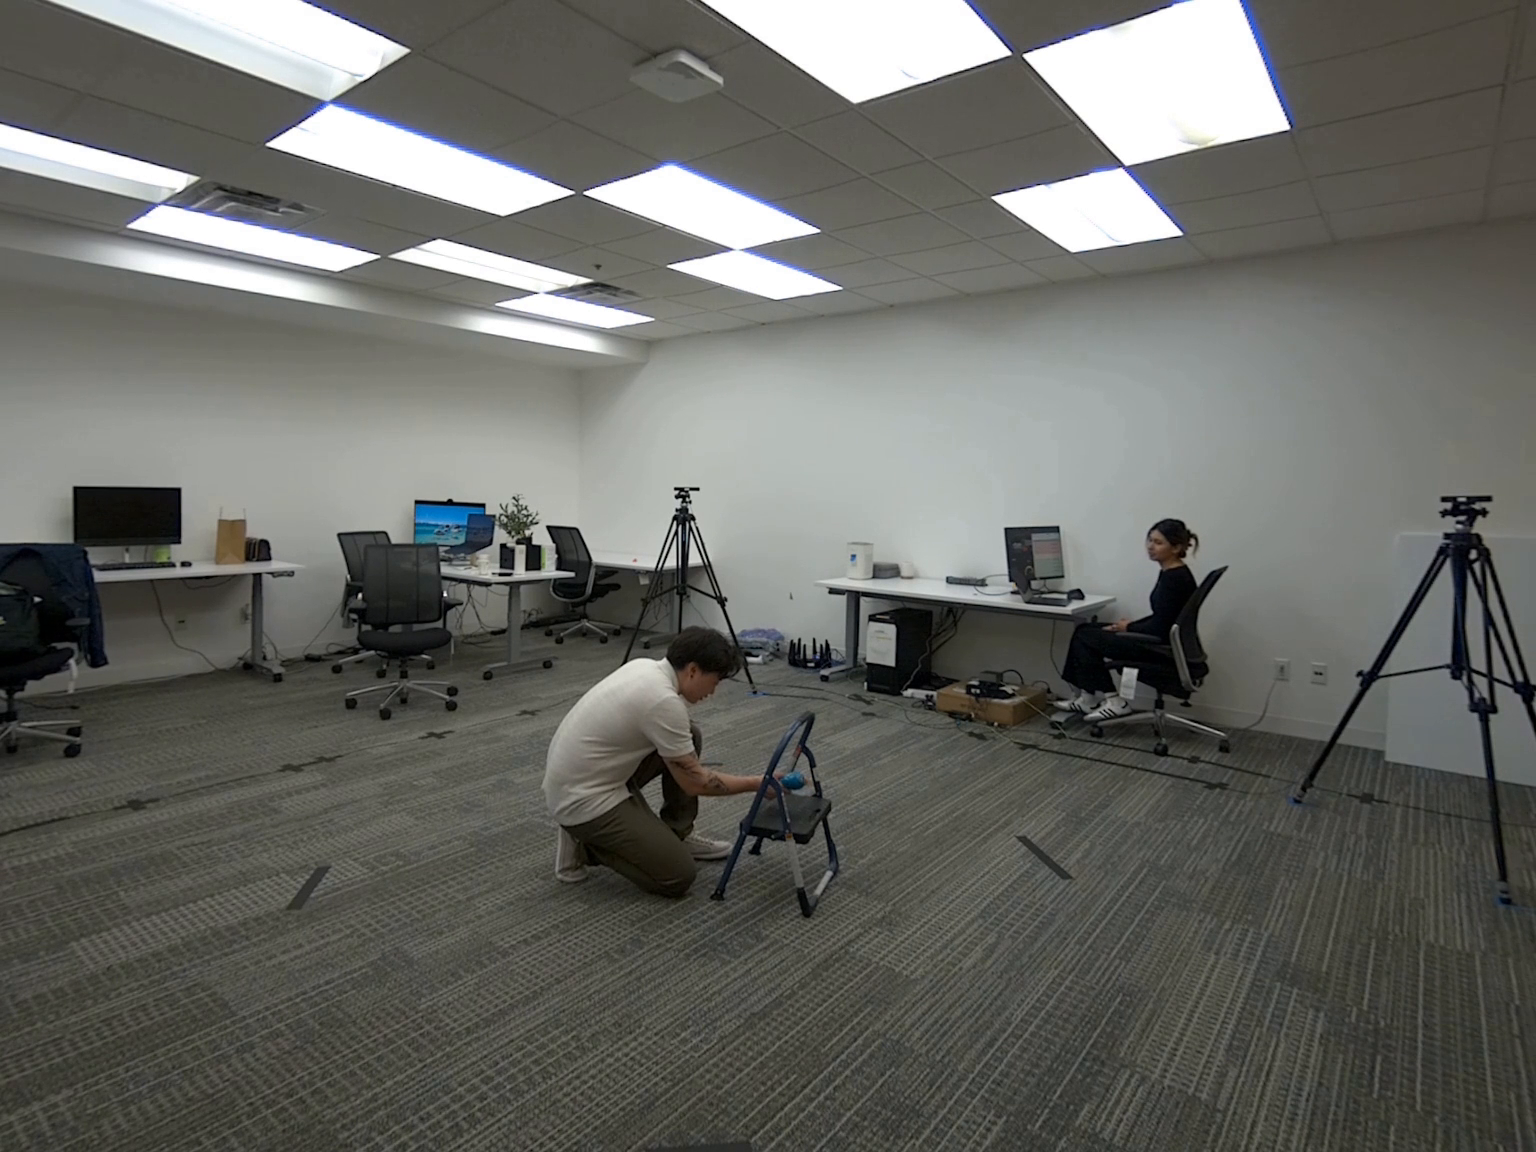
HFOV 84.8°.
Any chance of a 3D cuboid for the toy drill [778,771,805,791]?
[{"bbox_3d":[0.061,0.744,3.047,0.149,0.062,0.163,-18,-24,33],"label":"toy drill"}]
